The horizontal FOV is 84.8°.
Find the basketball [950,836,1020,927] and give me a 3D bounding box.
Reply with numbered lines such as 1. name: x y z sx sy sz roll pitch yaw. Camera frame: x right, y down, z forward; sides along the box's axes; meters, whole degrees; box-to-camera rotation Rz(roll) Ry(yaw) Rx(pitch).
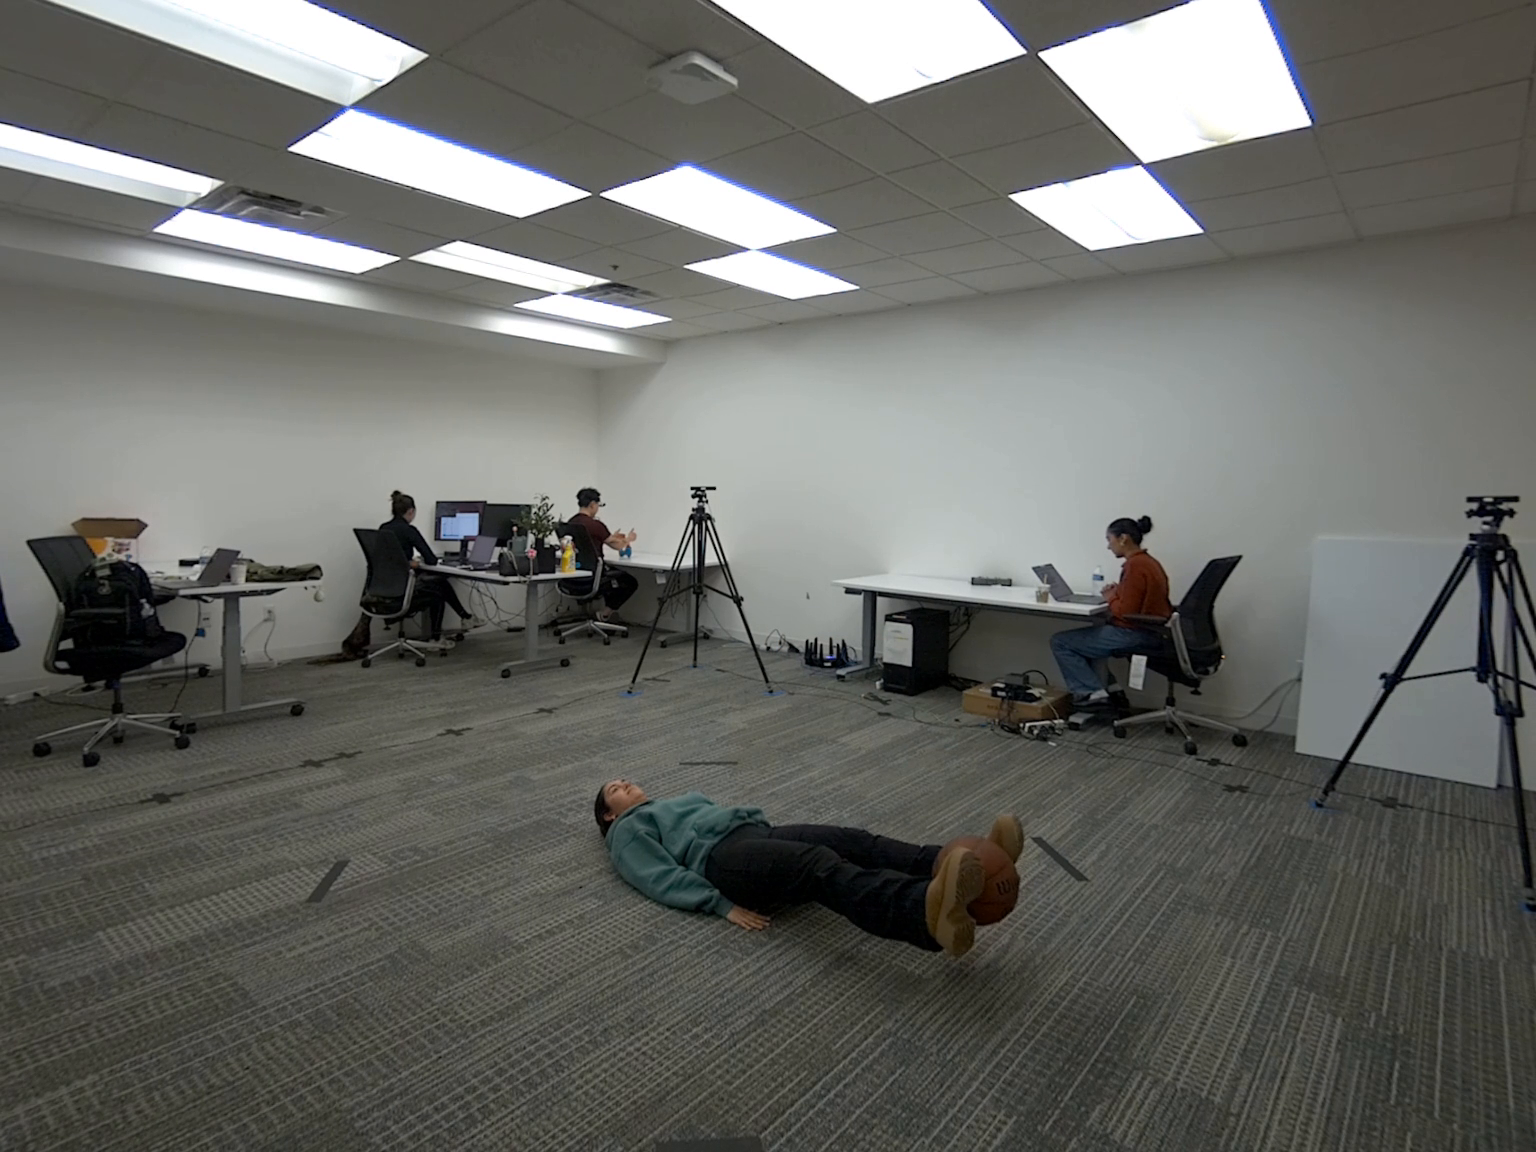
1. basketball: 0.582 0.856 2.406 0.236 0.235 0.237 0 4 -2
